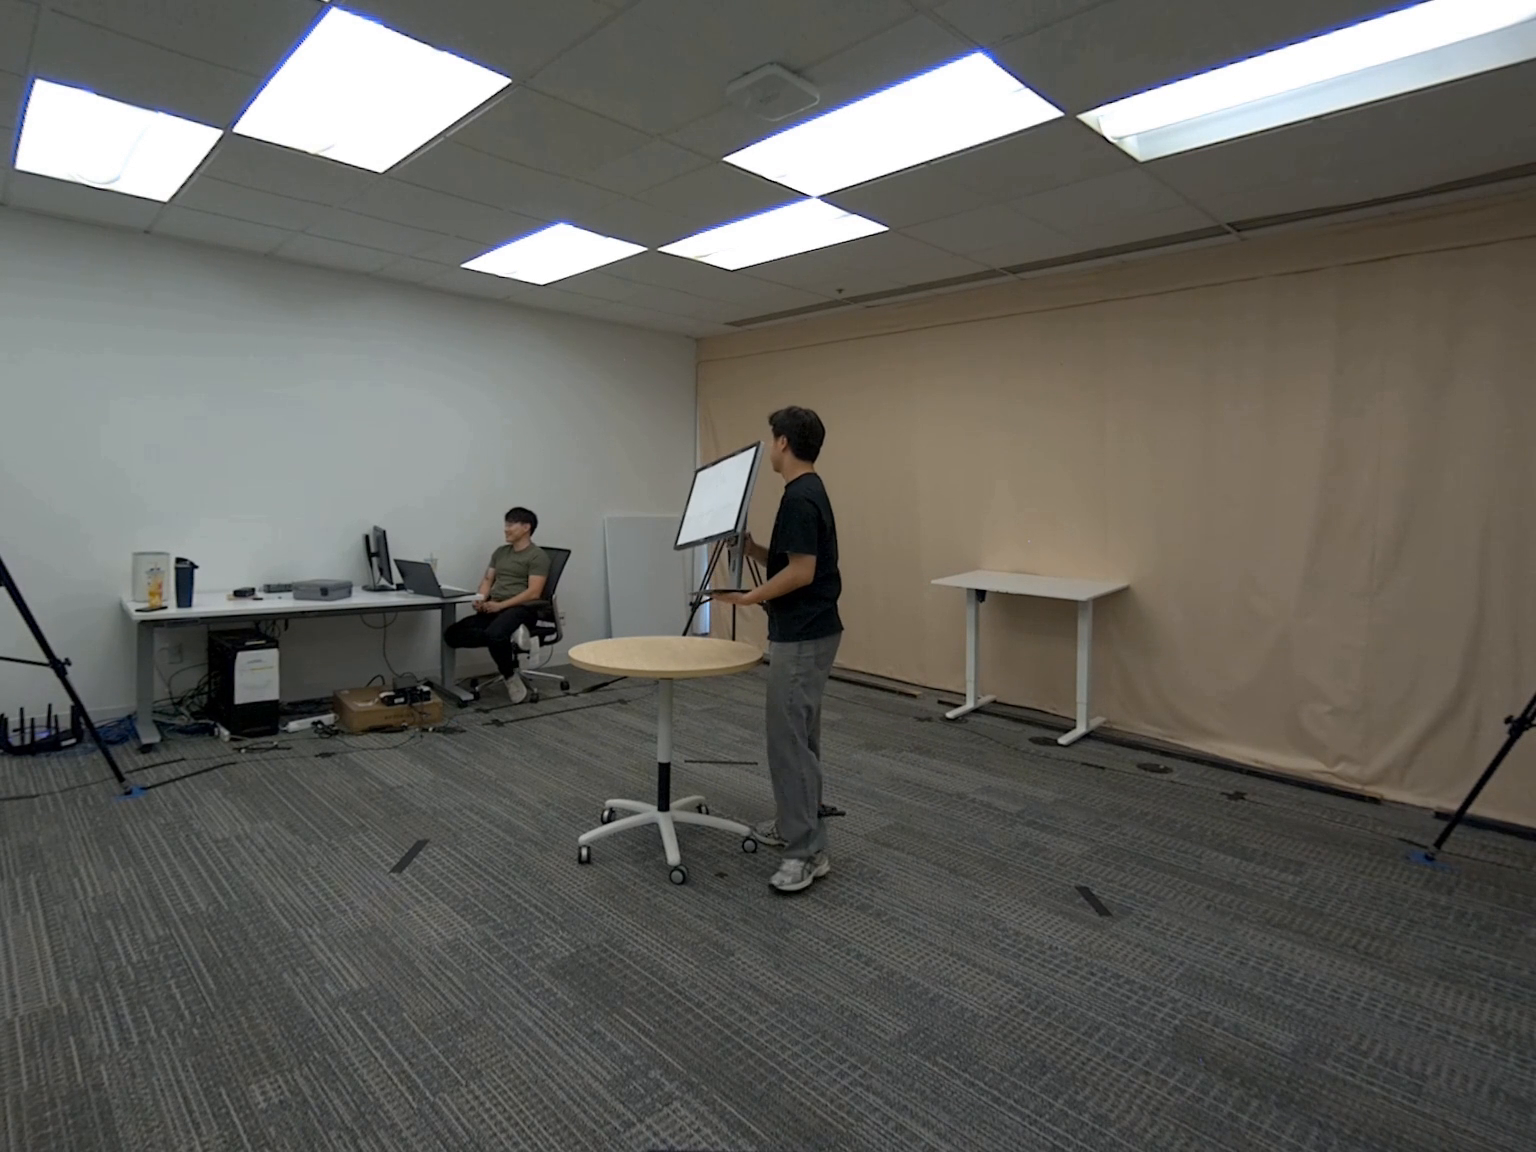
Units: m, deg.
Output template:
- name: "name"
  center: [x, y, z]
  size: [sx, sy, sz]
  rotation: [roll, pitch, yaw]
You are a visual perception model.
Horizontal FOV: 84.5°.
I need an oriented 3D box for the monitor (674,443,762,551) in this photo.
- name: "monitor"
  center: [-0.174, -0.186, 3.258]
  size: [0.218, 0.569, 0.569]
  rotation: [3, -8, -26]
